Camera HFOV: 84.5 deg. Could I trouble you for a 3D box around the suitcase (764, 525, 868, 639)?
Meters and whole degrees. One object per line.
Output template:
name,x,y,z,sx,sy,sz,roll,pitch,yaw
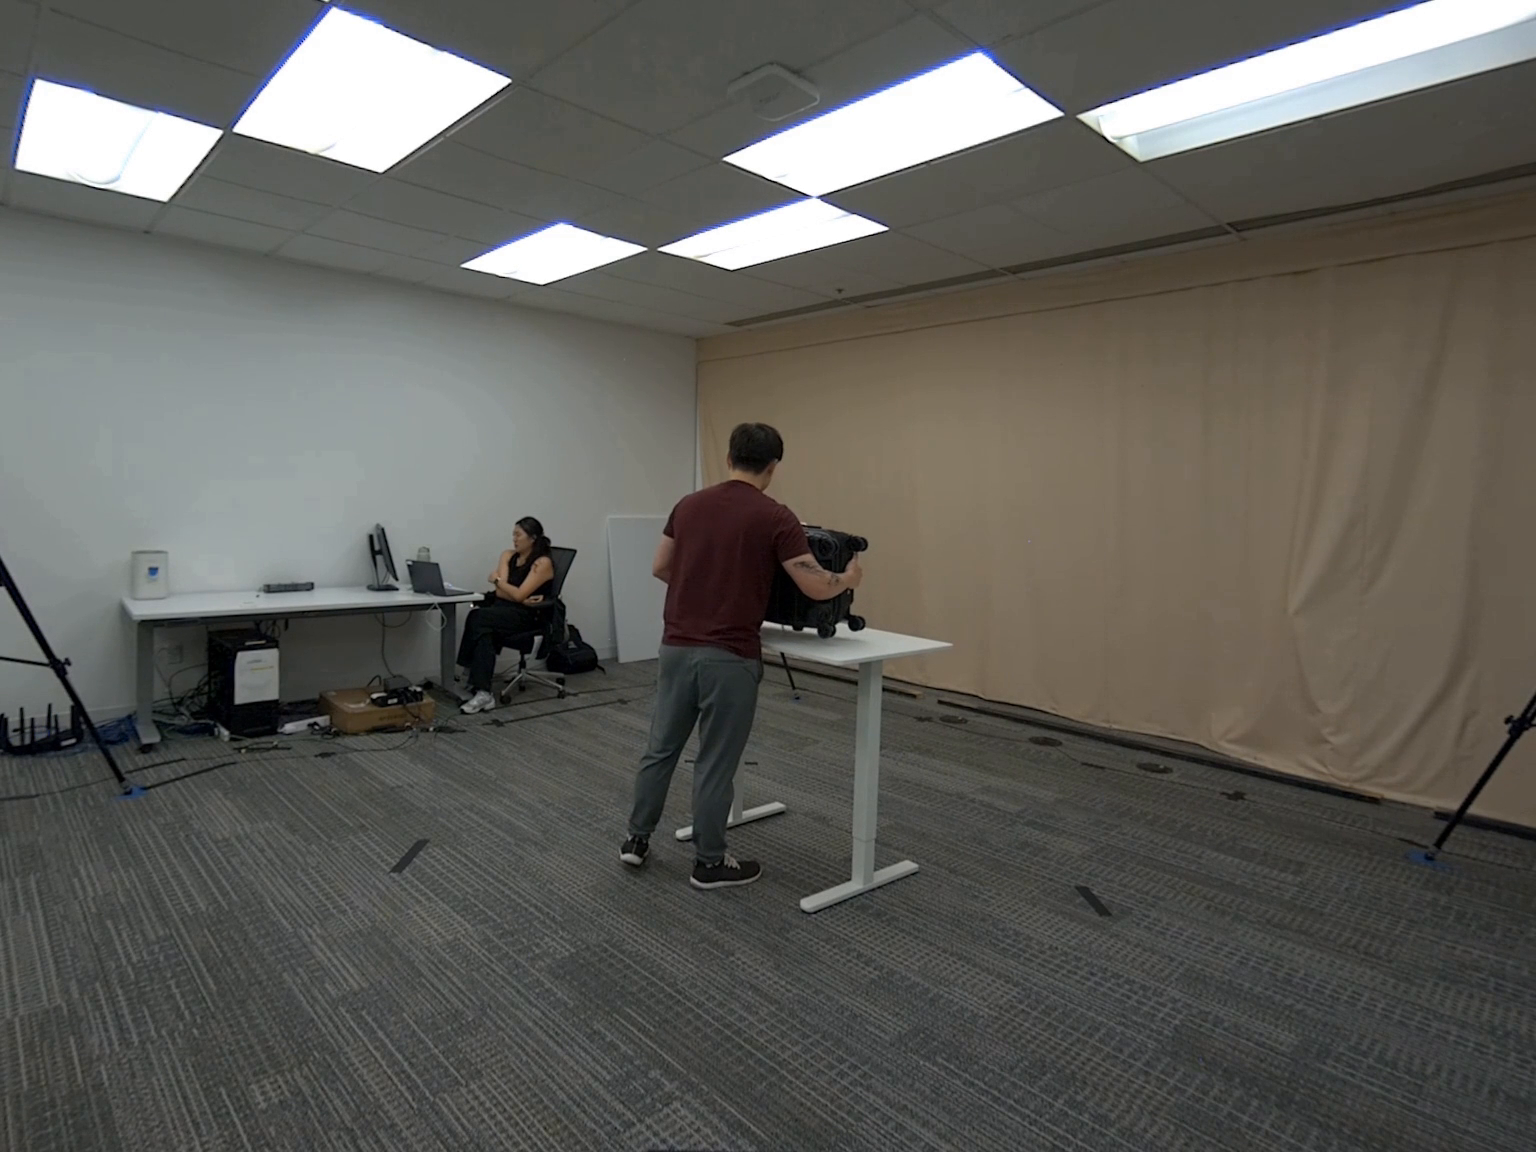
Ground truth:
suitcase,-0.096,-0.018,3.292,1.003,0.383,0.251,7,6,38
